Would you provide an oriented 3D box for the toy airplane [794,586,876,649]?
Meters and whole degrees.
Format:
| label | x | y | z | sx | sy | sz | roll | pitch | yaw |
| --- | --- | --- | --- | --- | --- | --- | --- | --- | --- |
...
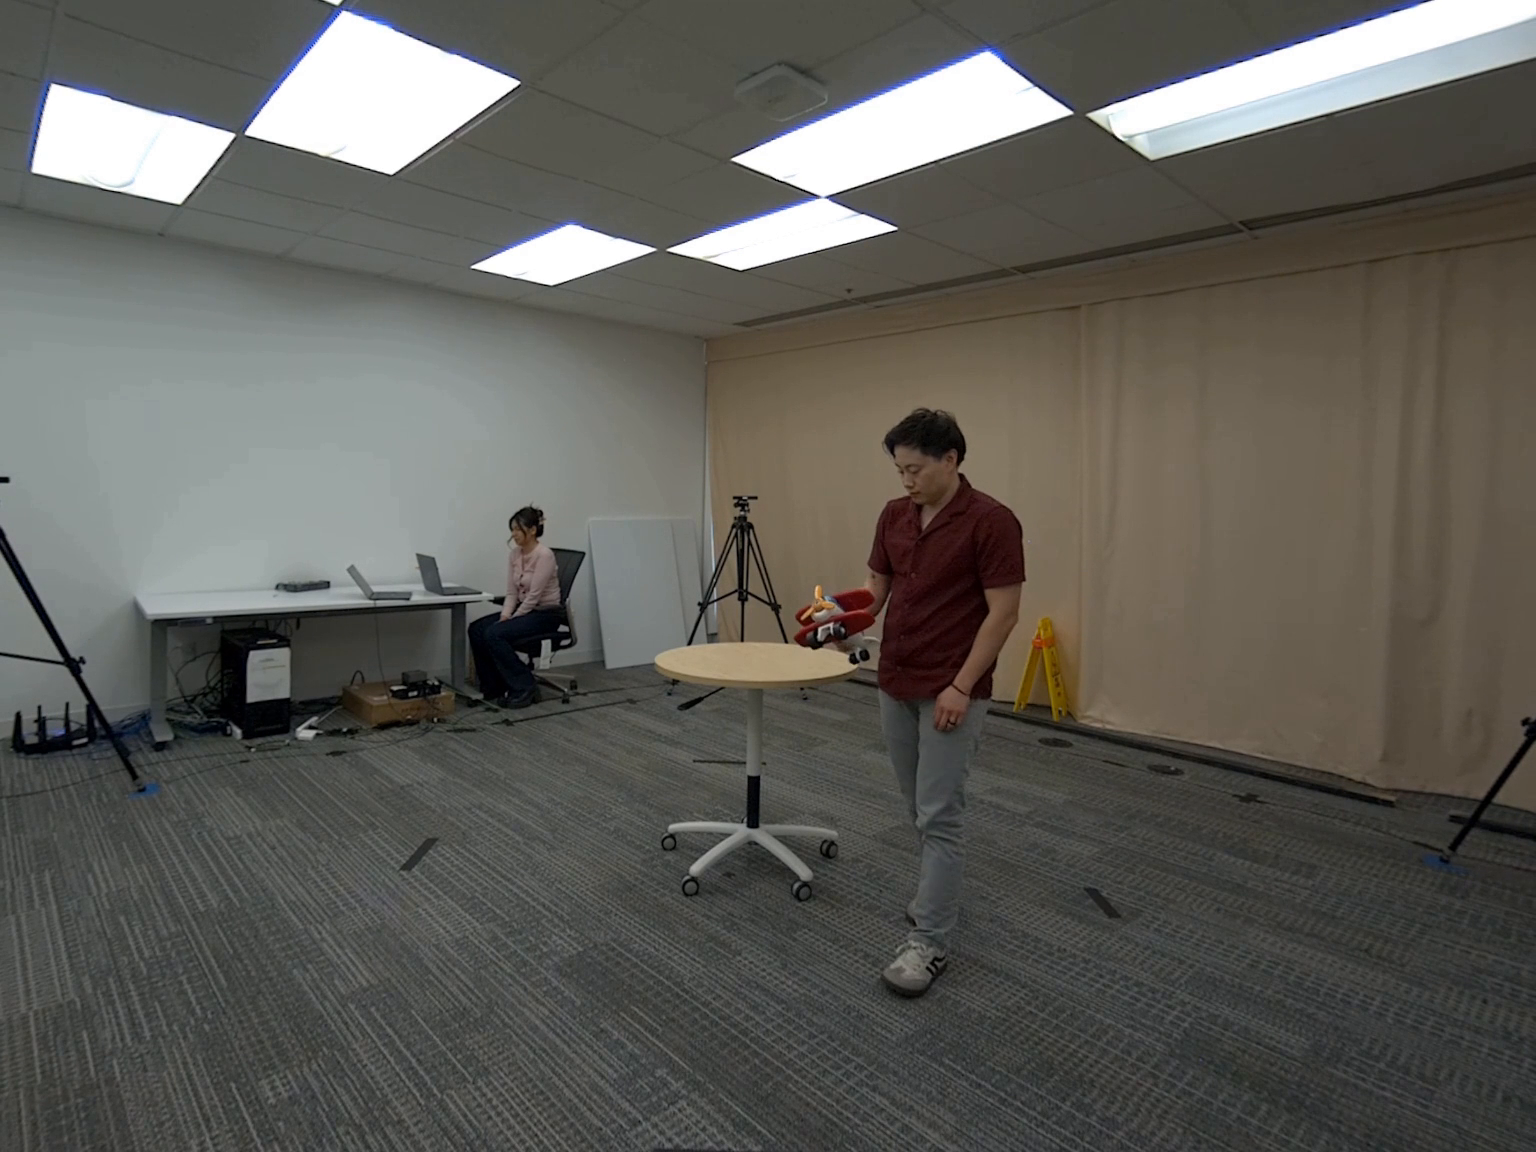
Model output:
| label | x | y | z | sx | sy | sz | roll | pitch | yaw |
| --- | --- | --- | --- | --- | --- | --- | --- | --- | --- |
| toy airplane | 0.196 | 0.163 | 2.483 | 0.252 | 0.159 | 0.253 | -6 | -29 | 5 |
